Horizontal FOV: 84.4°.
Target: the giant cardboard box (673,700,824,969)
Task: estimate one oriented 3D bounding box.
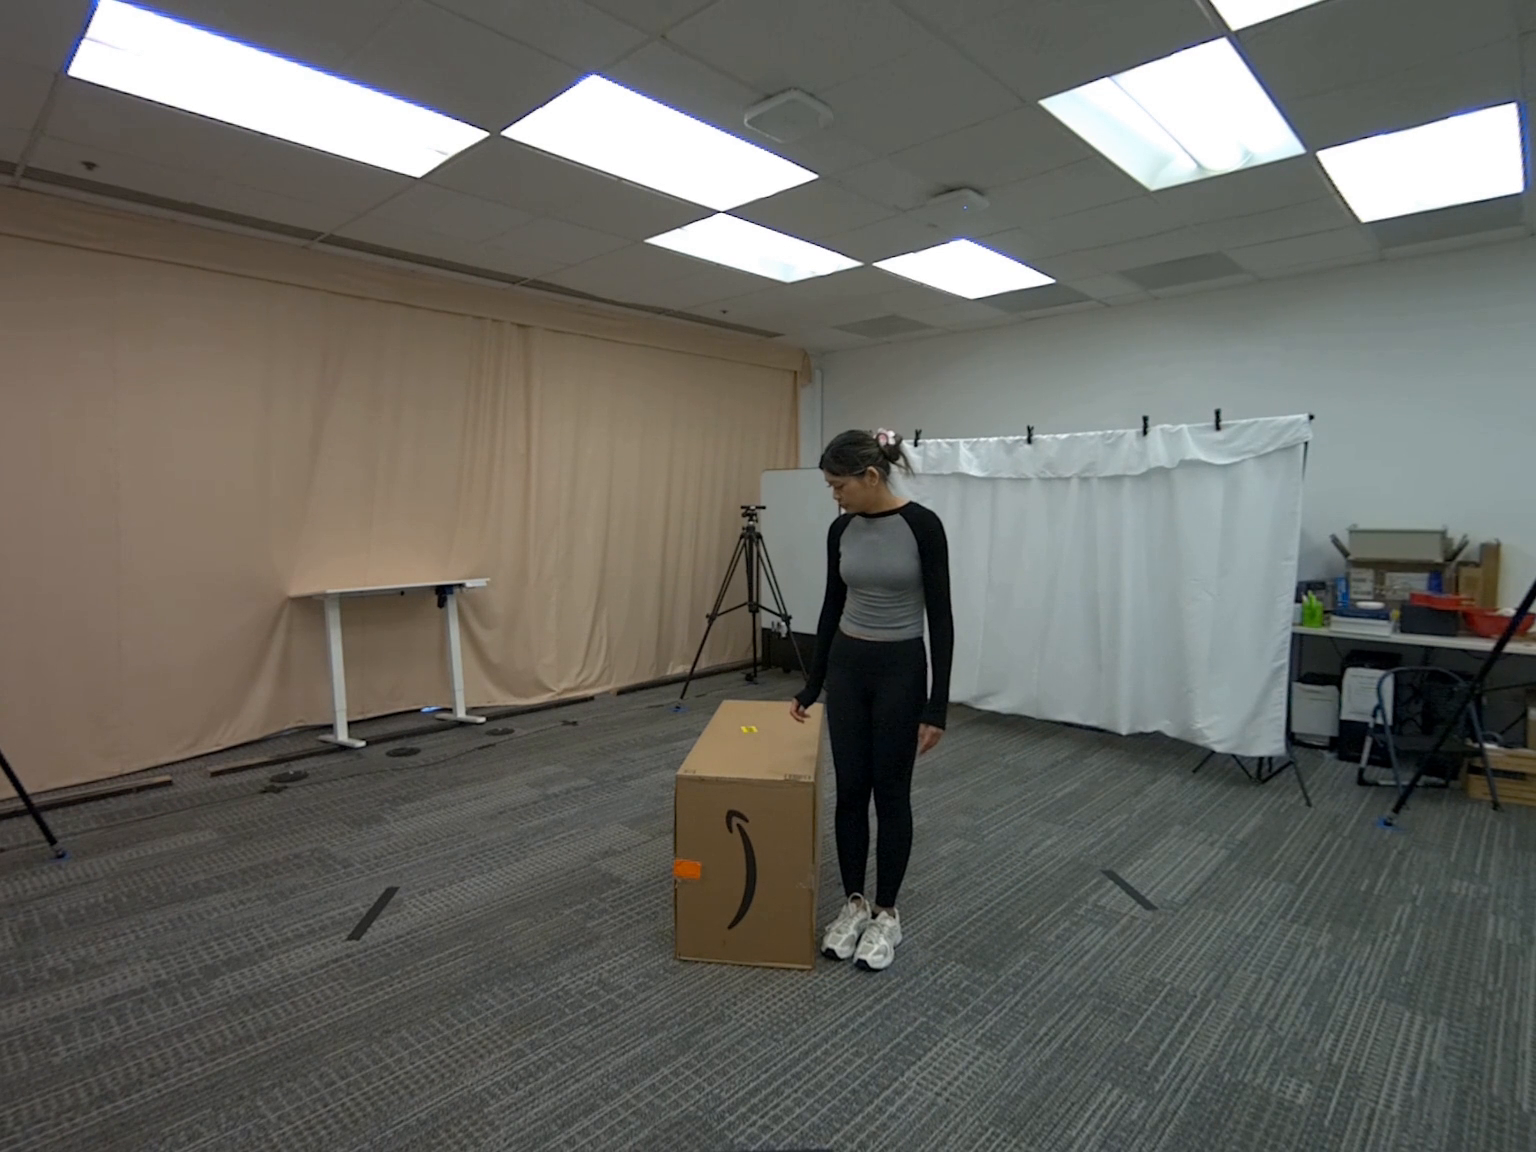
[{"bbox_3d":[-0.029,0.851,3.041,0.430,0.576,1.020,1,4,6],"label":"giant cardboard box"}]
